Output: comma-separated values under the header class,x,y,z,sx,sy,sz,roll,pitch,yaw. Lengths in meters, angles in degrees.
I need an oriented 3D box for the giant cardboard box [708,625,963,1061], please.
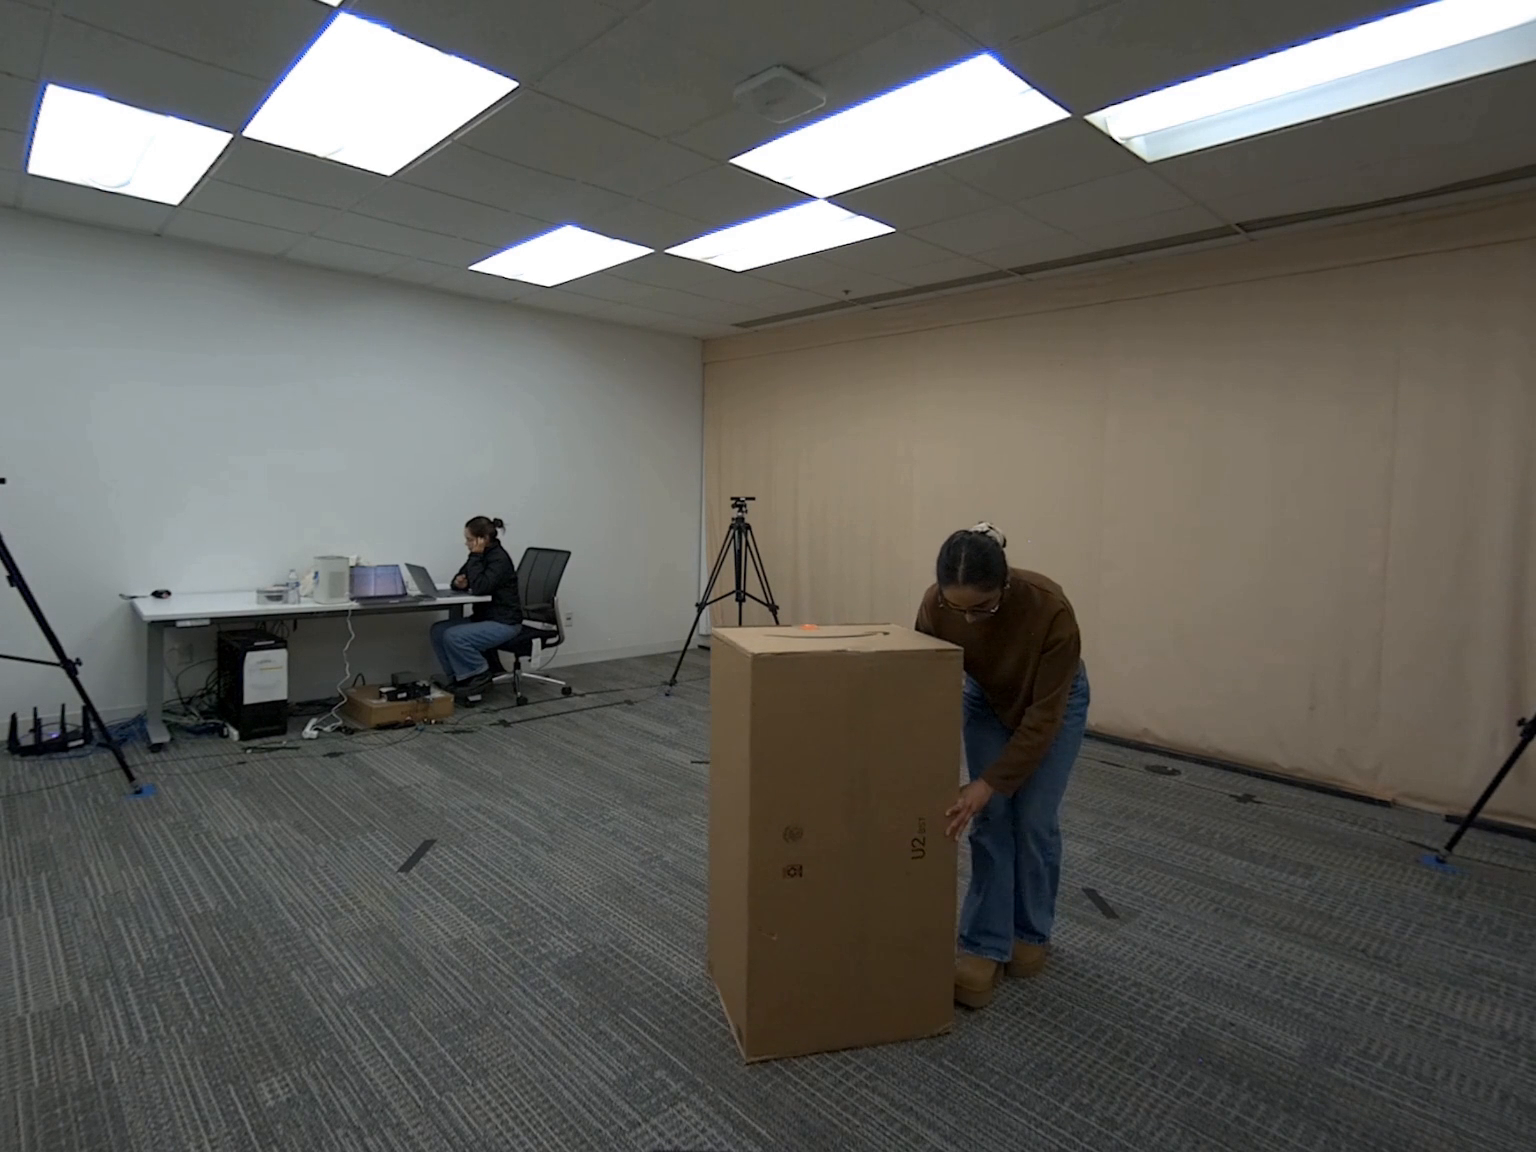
class,x,y,z,sx,sy,sz,roll,pitch,yaw
giant cardboard box,0.159,0.675,2.322,0.570,1.023,0.433,-1,4,-16
